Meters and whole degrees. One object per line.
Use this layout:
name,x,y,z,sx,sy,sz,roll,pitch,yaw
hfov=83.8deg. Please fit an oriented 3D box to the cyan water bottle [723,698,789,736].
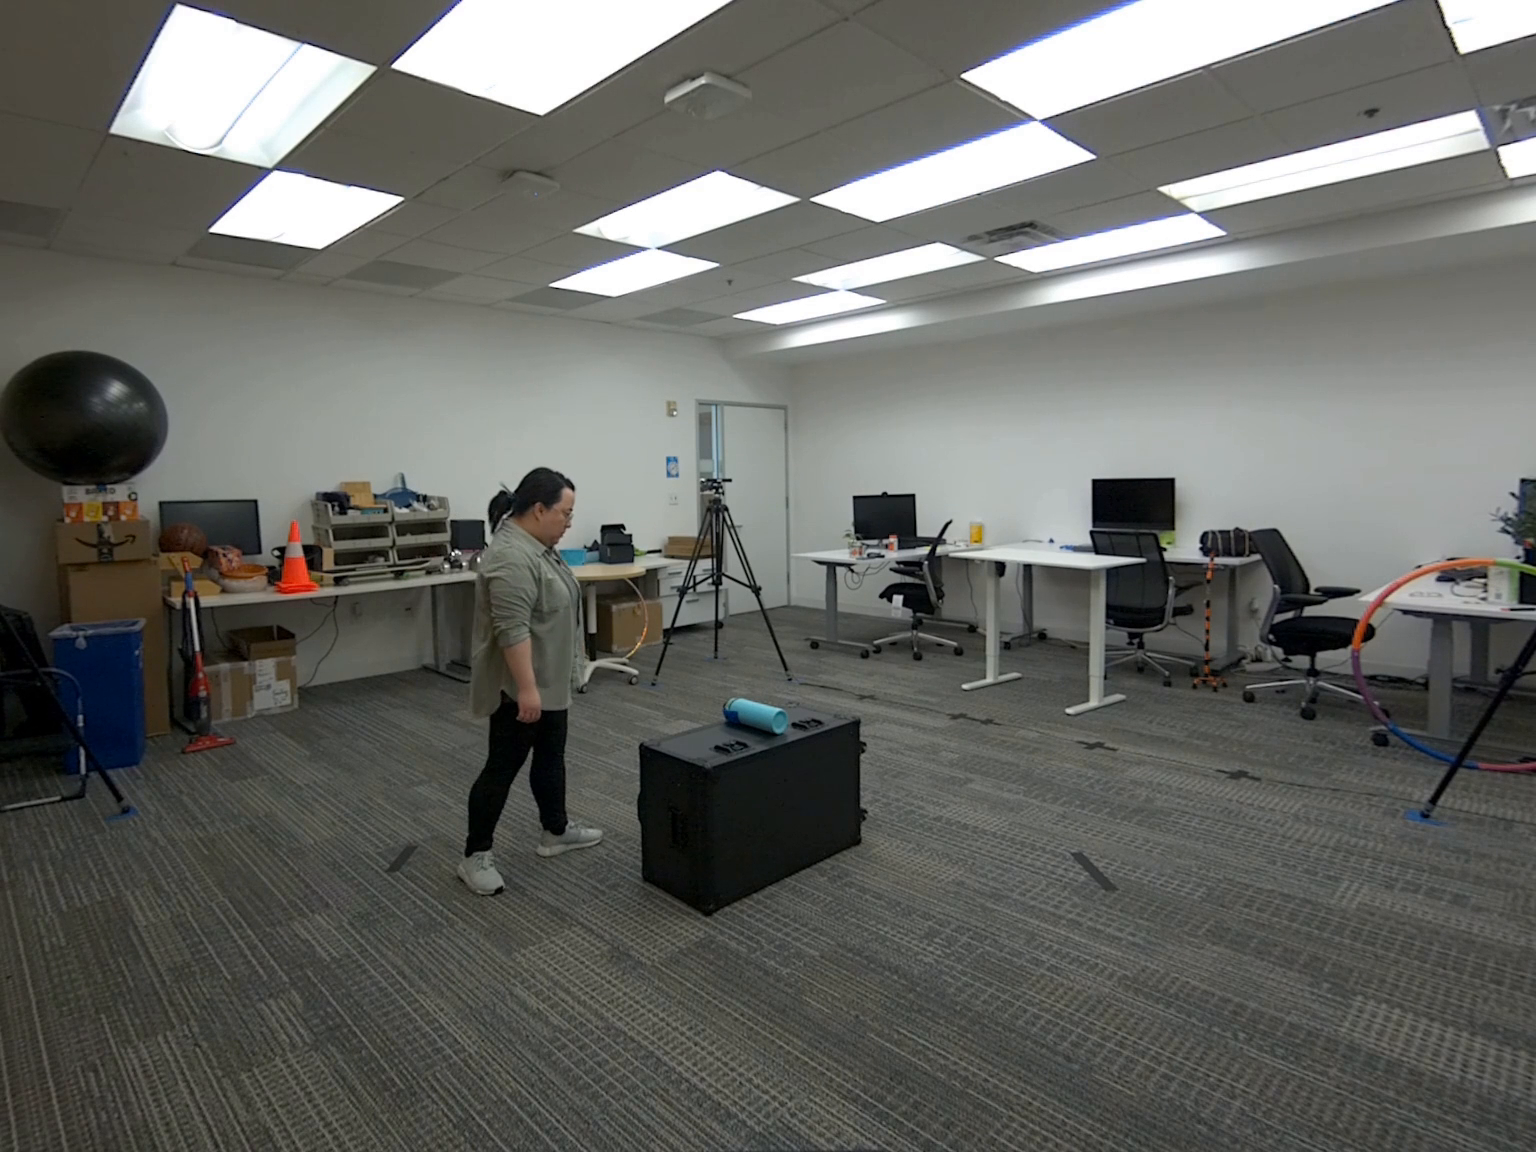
cyan water bottle,-0.053,0.505,3.151,0.090,0.092,0.292,-5,8,-43
